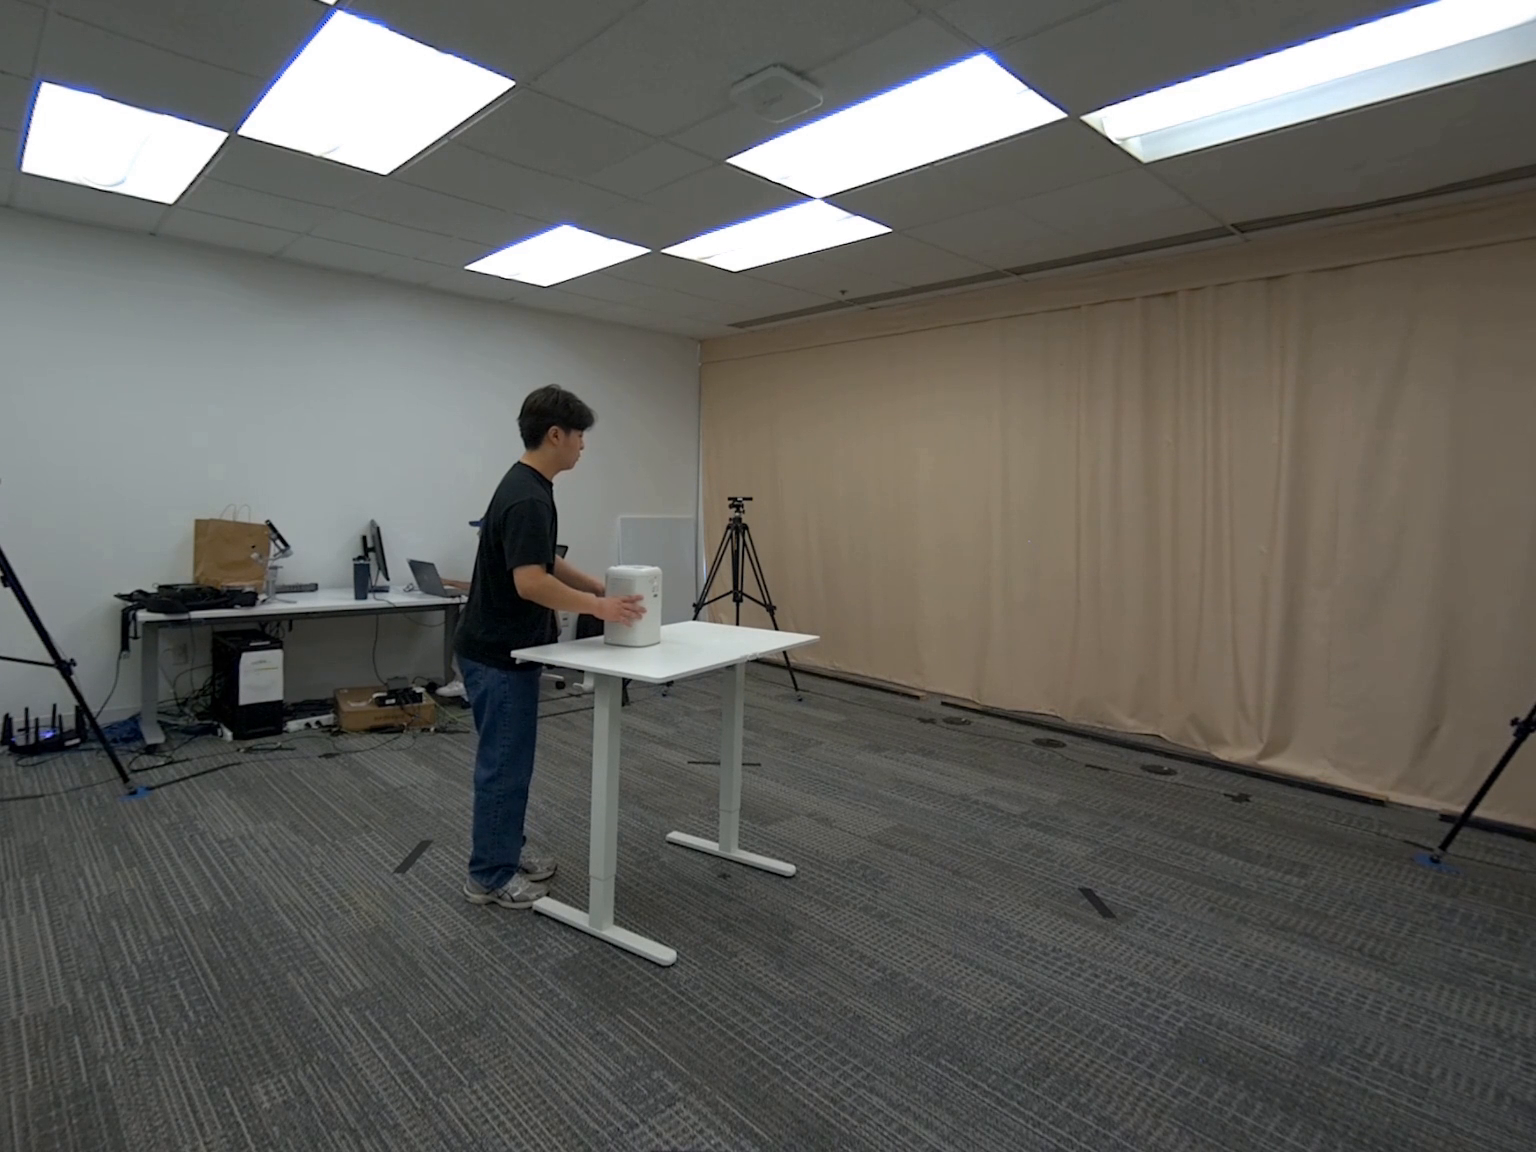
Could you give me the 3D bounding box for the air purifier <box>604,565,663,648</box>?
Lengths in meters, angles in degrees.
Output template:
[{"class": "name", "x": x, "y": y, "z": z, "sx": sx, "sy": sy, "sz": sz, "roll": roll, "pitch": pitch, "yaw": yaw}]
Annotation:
[{"class": "air purifier", "x": -0.478, "y": 0.099, "z": 2.908, "sx": 0.174, "sy": 0.264, "sz": 0.169, "roll": 4, "pitch": 5, "yaw": 21}]
